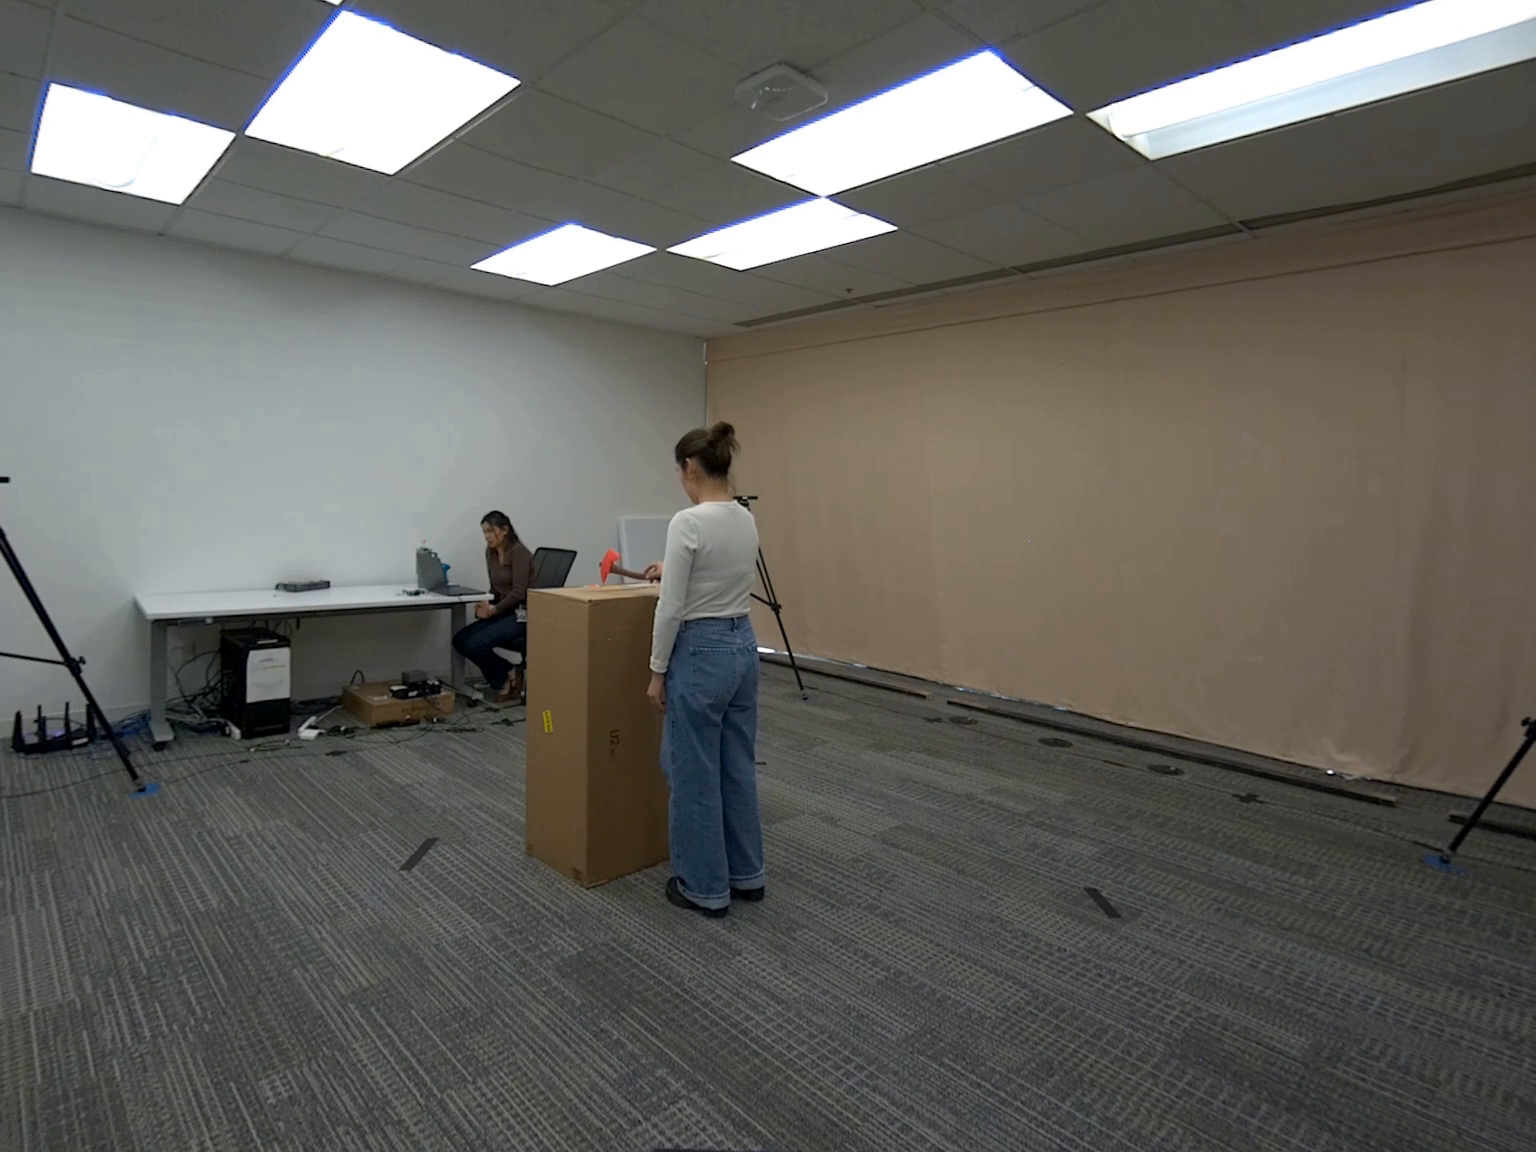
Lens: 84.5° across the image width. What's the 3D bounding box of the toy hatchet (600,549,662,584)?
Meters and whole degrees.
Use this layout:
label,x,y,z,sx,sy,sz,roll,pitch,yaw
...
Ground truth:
label,x,y,z,sx,sy,sz,roll,pitch,yaw
toy hatchet,-0.517,-0.036,3.157,0.274,0.131,0.029,-3,-3,23
